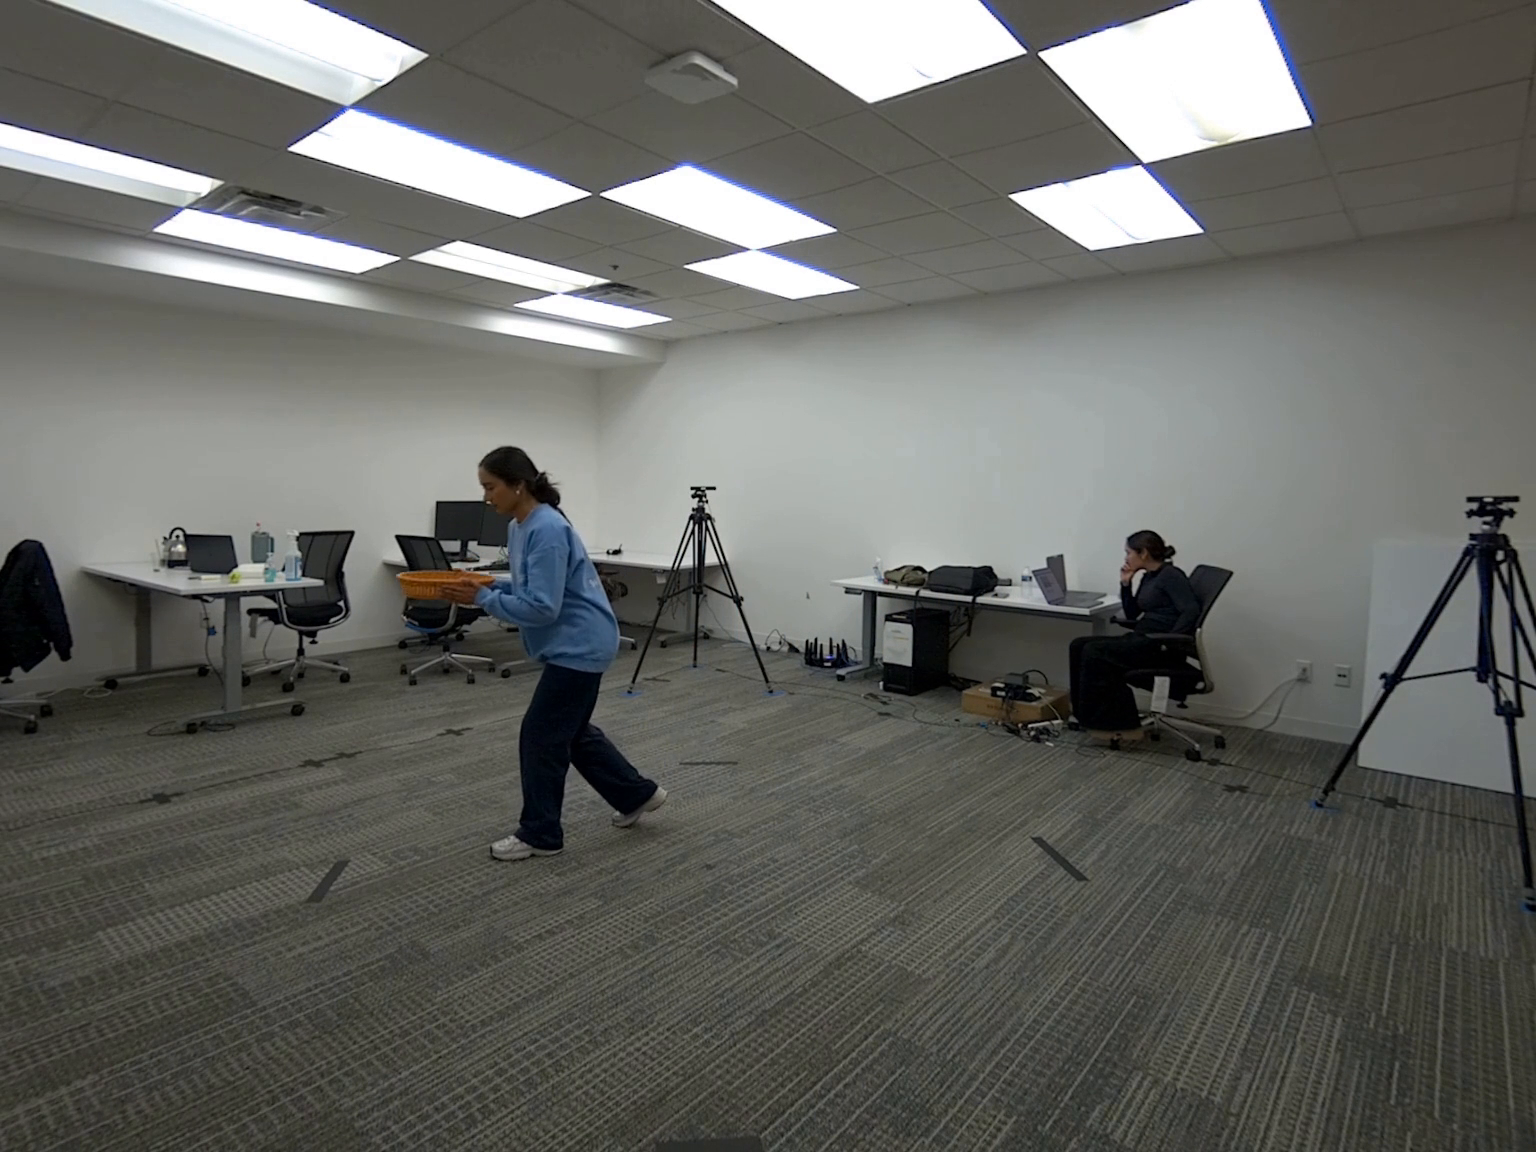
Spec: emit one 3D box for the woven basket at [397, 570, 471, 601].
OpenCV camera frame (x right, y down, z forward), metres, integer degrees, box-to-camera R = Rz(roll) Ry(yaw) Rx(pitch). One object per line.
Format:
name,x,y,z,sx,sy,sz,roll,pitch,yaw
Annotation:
woven basket,-1.181,0.043,3.119,0.342,0.073,0.259,1,6,-24
